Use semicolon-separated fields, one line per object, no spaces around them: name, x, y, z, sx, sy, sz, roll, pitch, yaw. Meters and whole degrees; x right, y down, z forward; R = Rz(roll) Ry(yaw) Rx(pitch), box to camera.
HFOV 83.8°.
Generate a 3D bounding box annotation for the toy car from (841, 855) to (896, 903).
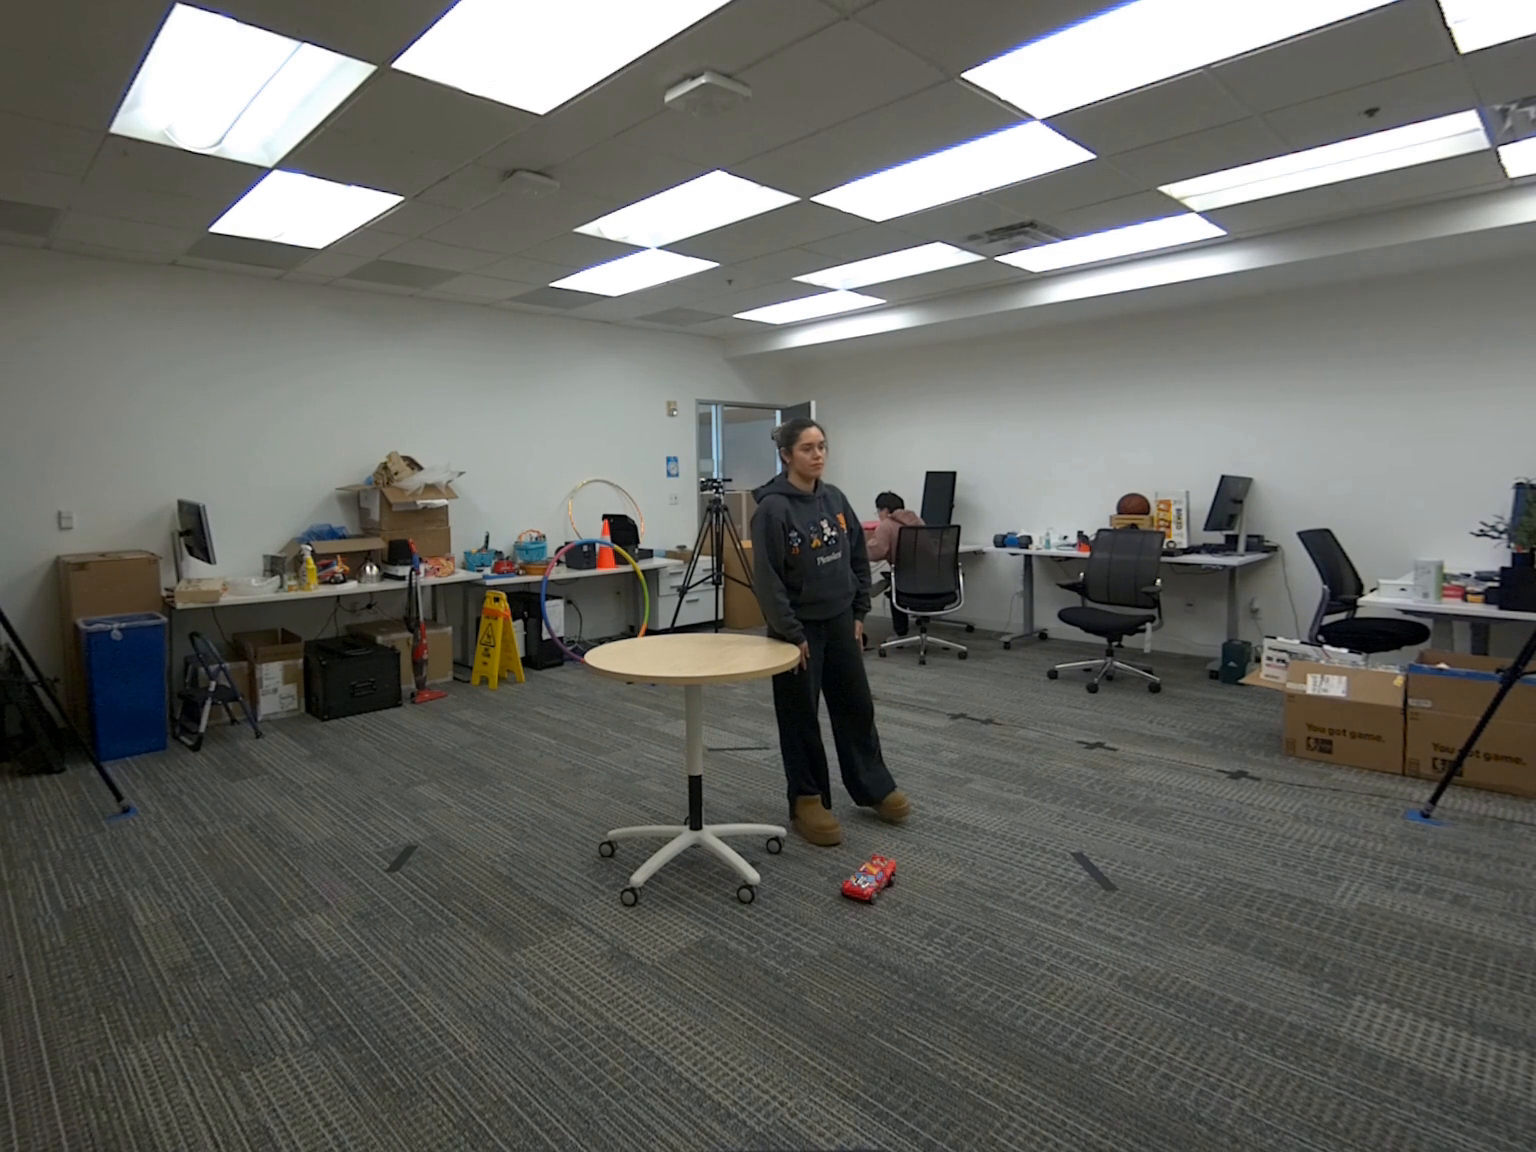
toy car;0.357;1.038;2.887;0.134;0.082;0.251;2;17;32
